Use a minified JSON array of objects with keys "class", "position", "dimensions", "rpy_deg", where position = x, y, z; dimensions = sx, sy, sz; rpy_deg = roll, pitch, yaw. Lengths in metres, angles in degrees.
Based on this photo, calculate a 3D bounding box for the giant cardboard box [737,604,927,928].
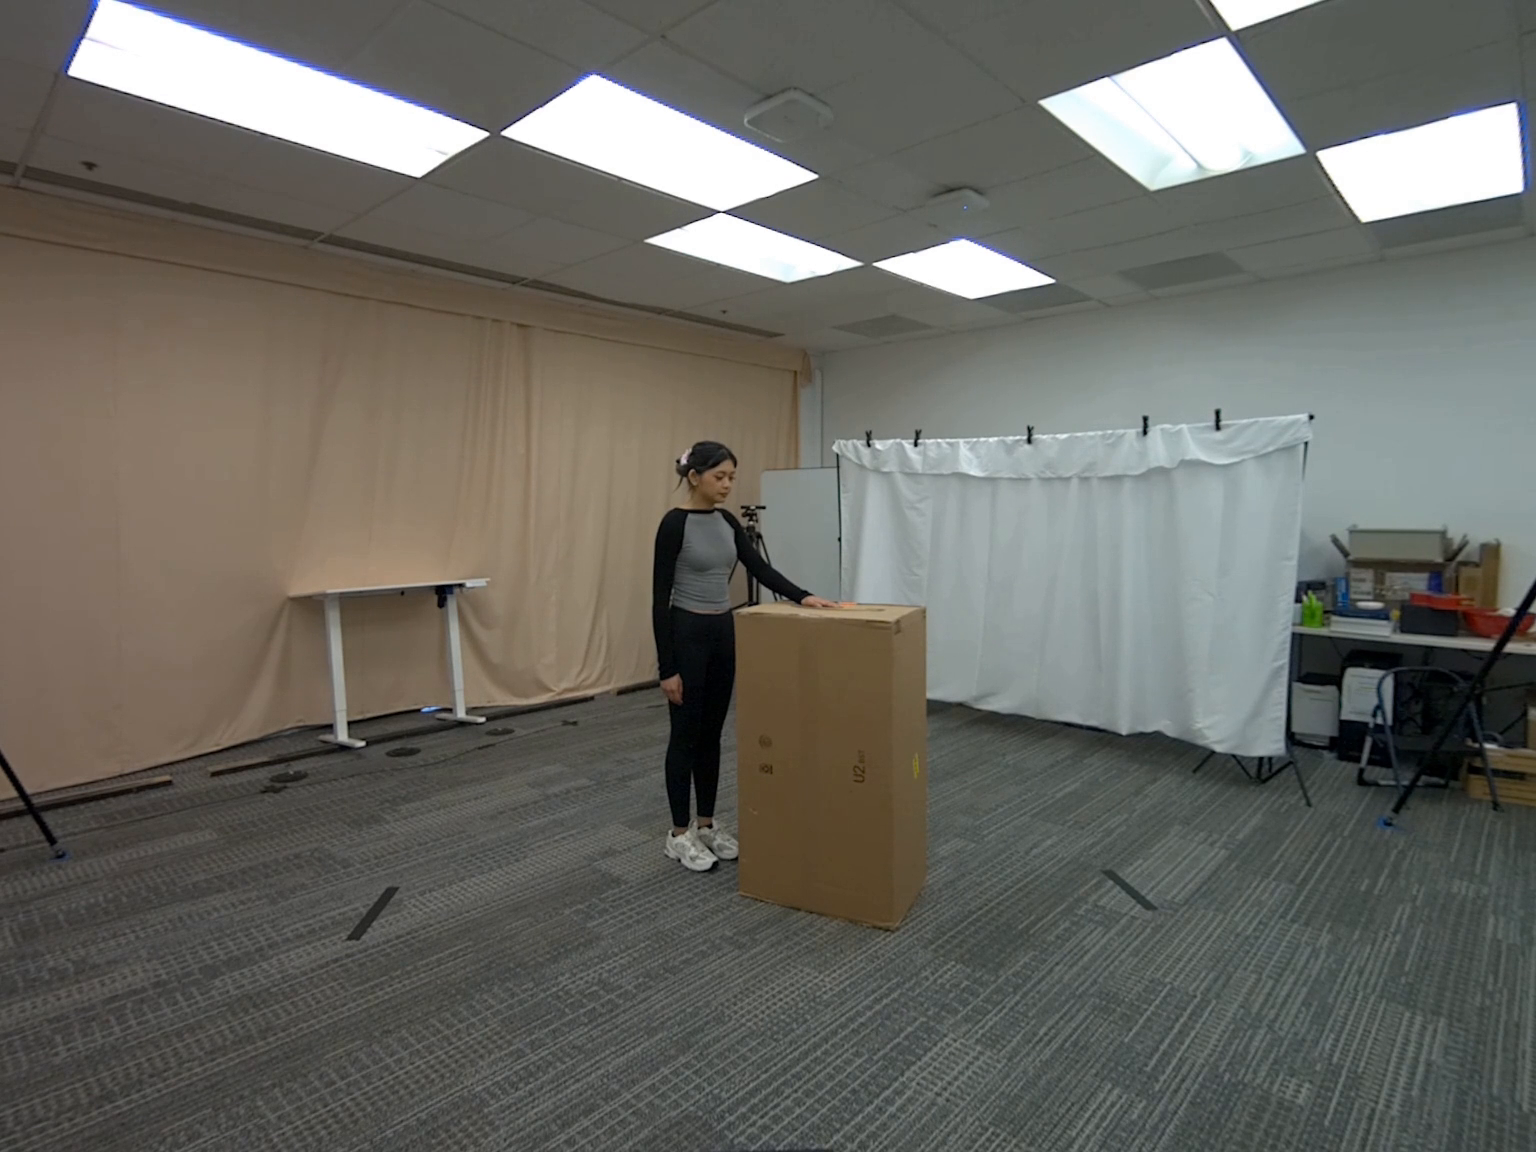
[{"class":"giant cardboard box","position":[0.244,0.633,3.039],"dimensions":[0.599,1.025,0.436],"rpy_deg":[1,4,26]}]
